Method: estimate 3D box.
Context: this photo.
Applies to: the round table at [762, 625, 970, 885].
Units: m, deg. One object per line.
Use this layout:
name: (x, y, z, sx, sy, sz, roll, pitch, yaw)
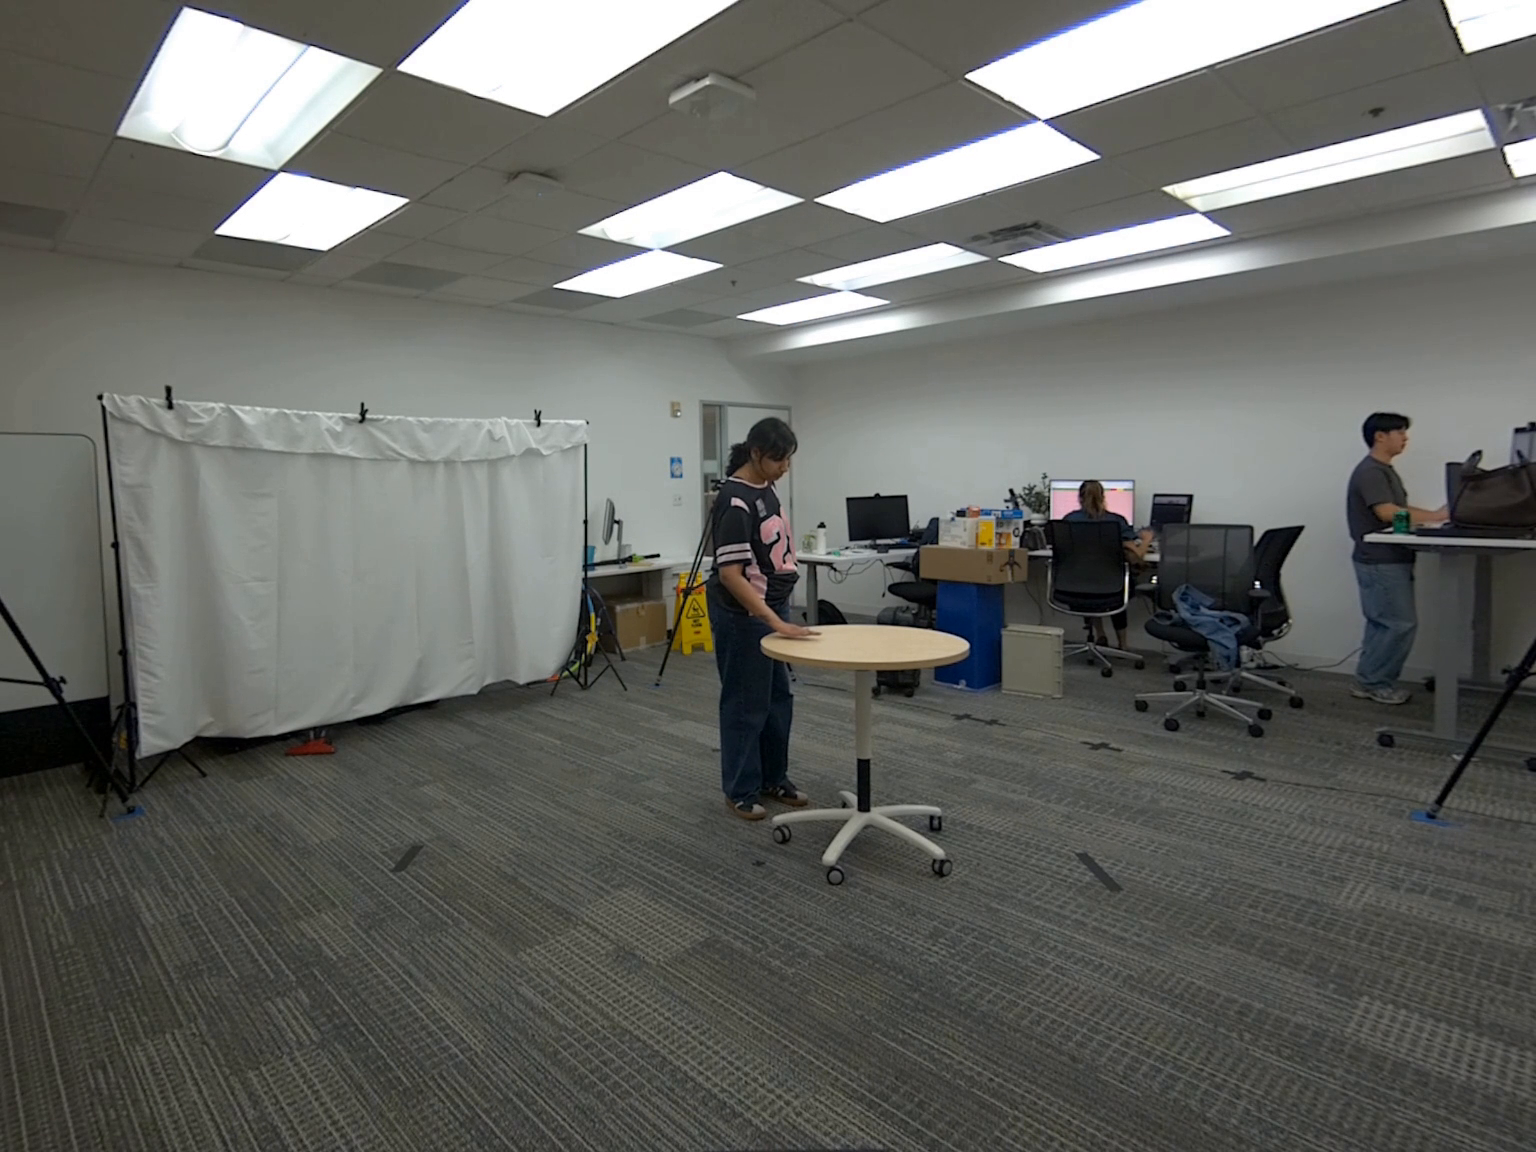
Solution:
round table: (0.367, 0.634, 3.225, 0.784, 0.783, 0.789, -1, 5, -2)
